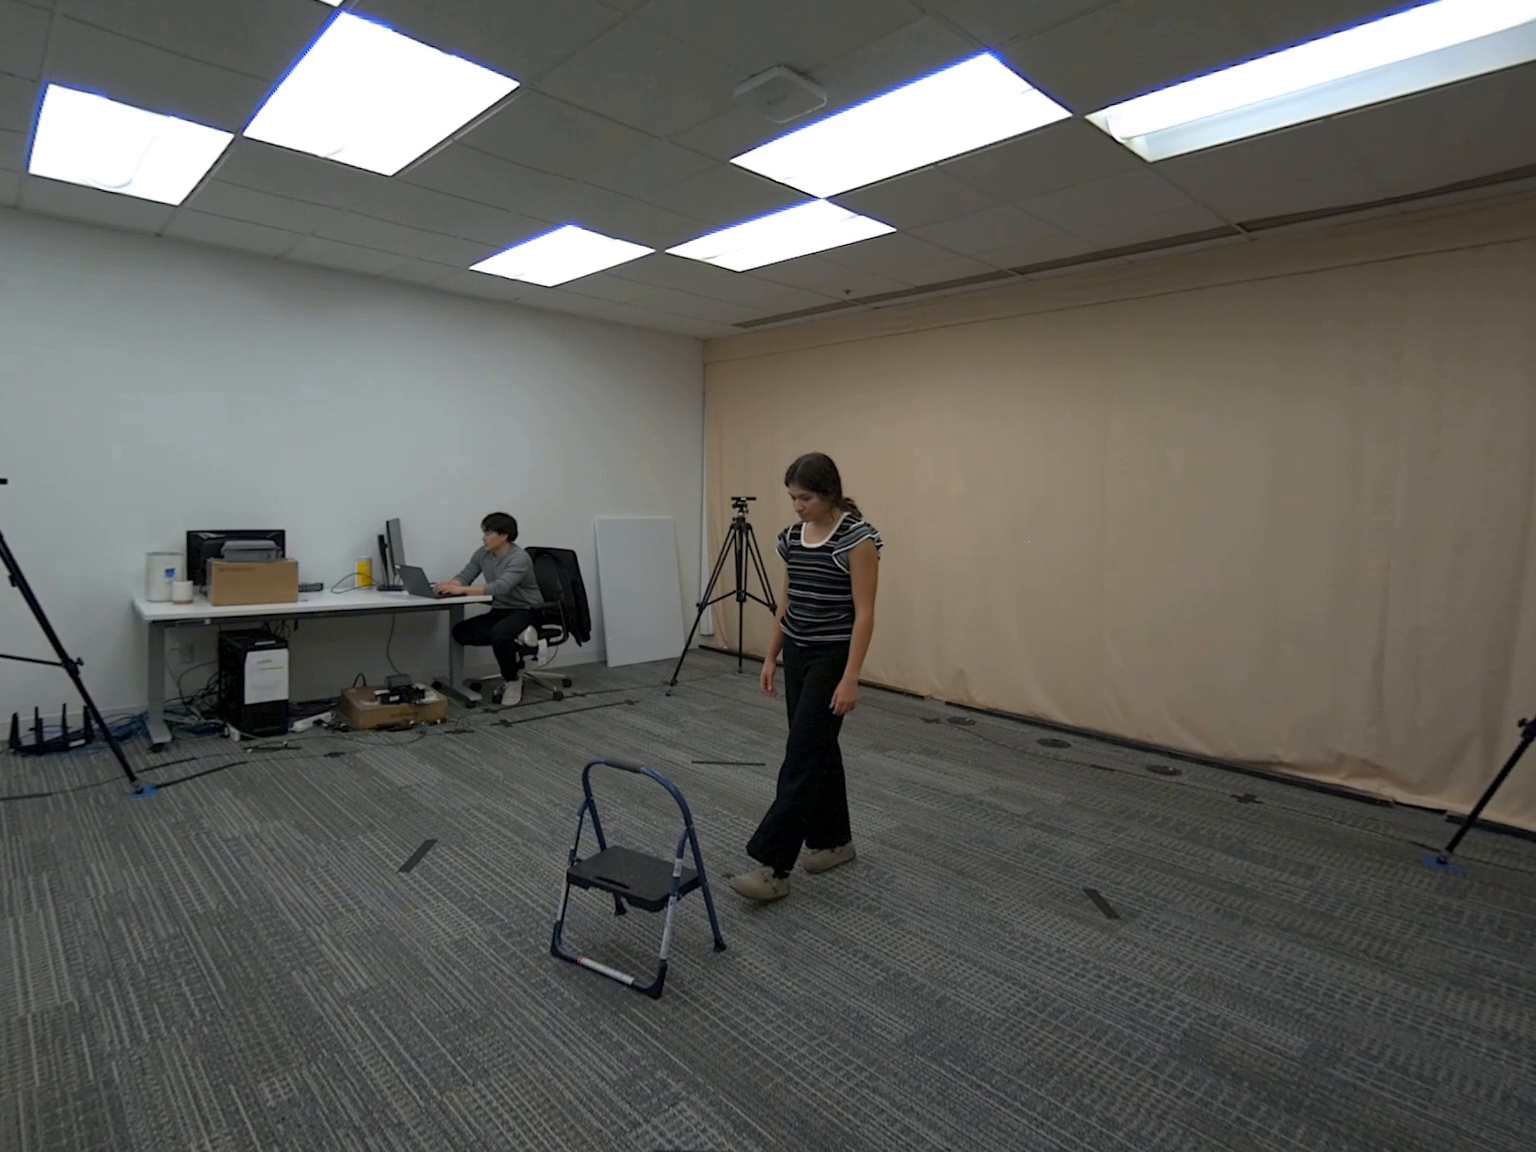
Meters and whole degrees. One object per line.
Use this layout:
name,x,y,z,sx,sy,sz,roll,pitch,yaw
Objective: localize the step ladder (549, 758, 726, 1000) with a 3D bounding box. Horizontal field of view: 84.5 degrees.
step ladder,-0.397,0.849,2.560,0.440,0.605,0.342,3,3,31
